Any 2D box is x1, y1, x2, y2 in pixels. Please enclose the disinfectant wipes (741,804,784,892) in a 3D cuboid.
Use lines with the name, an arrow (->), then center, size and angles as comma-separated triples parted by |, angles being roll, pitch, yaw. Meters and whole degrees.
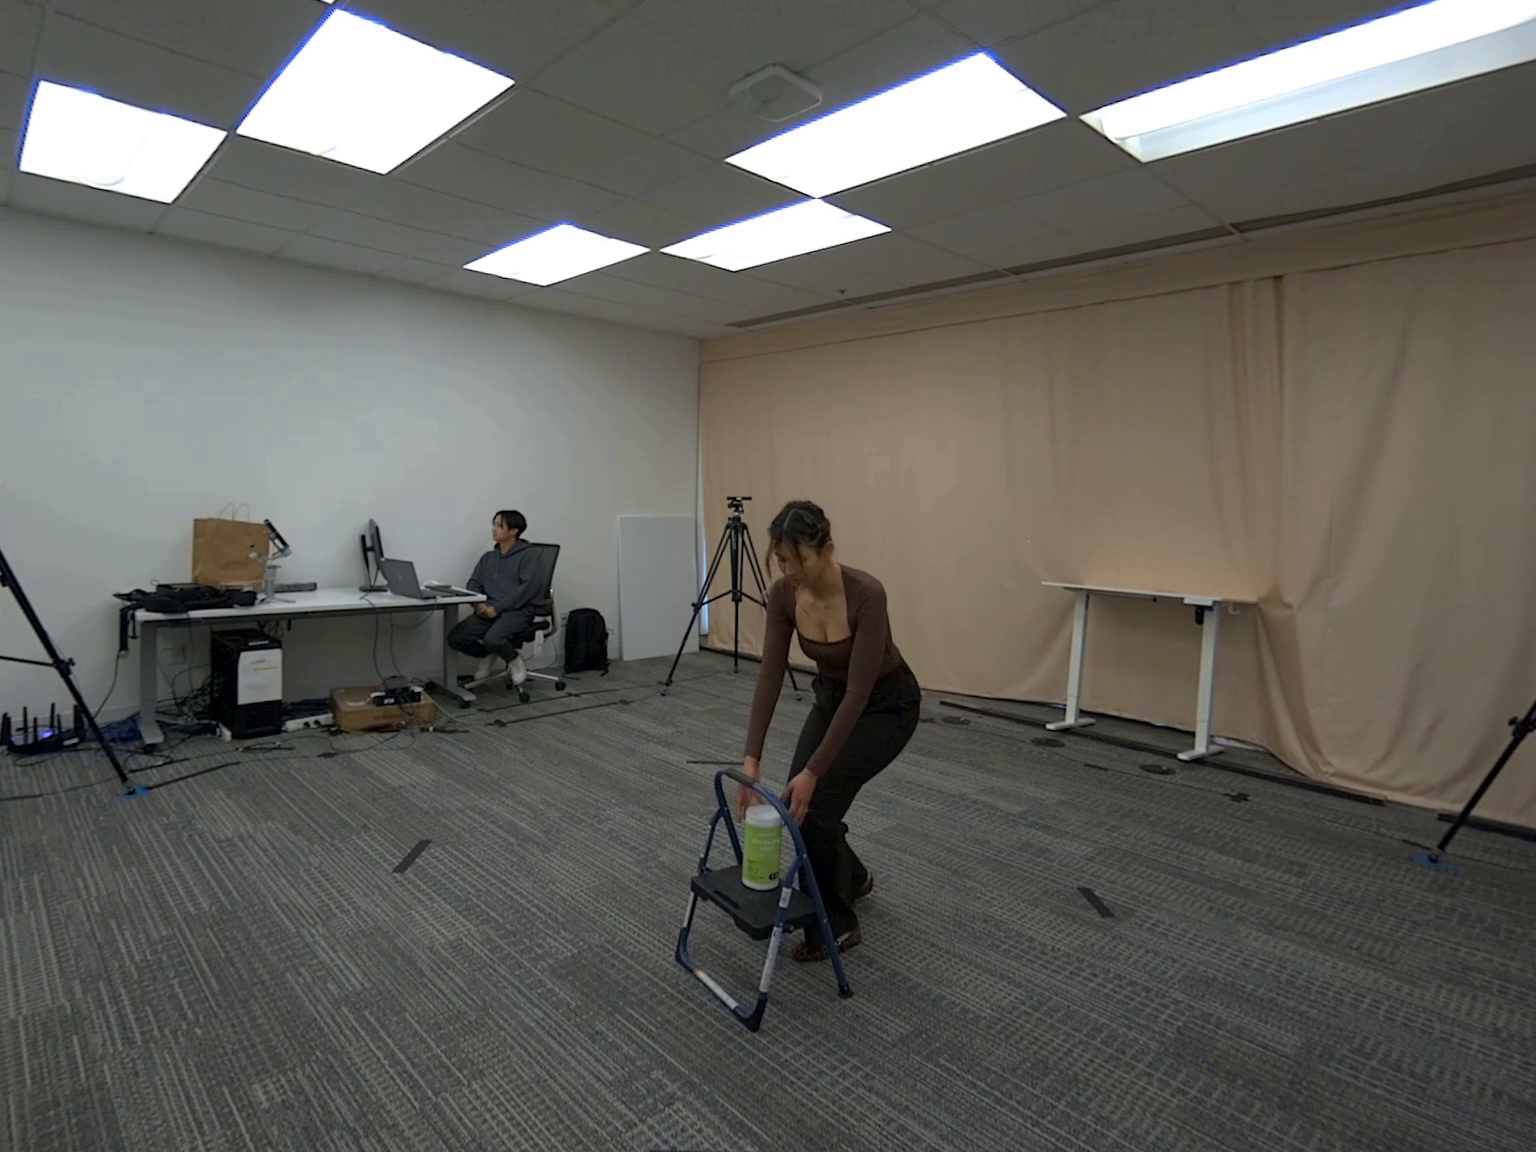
disinfectant wipes -> -0.025, 0.801, 2.469 | 0.117, 0.217, 0.118 | 6, 4, -2
